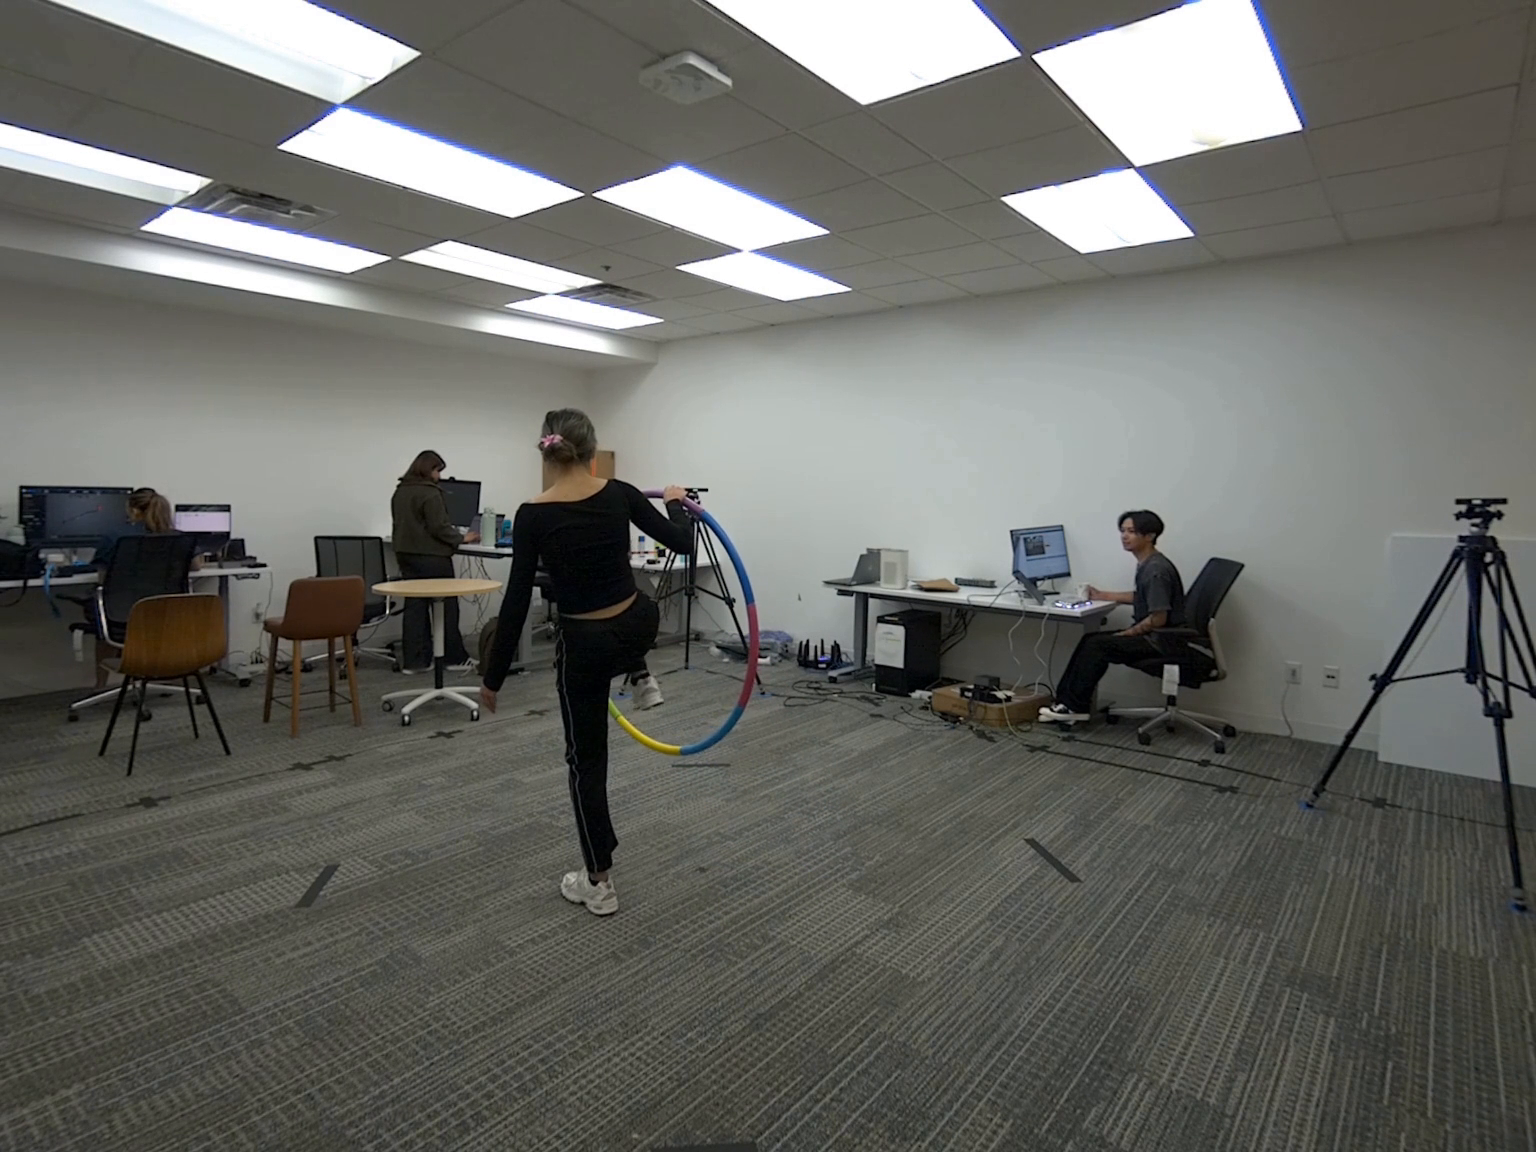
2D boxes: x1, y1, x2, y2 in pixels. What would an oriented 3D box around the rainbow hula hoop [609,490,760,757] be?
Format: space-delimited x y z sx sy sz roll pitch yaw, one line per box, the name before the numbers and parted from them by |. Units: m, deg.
rainbow hula hoop | -0.424 0.165 3.183 1.012 0.974 0.034 5 7 42
